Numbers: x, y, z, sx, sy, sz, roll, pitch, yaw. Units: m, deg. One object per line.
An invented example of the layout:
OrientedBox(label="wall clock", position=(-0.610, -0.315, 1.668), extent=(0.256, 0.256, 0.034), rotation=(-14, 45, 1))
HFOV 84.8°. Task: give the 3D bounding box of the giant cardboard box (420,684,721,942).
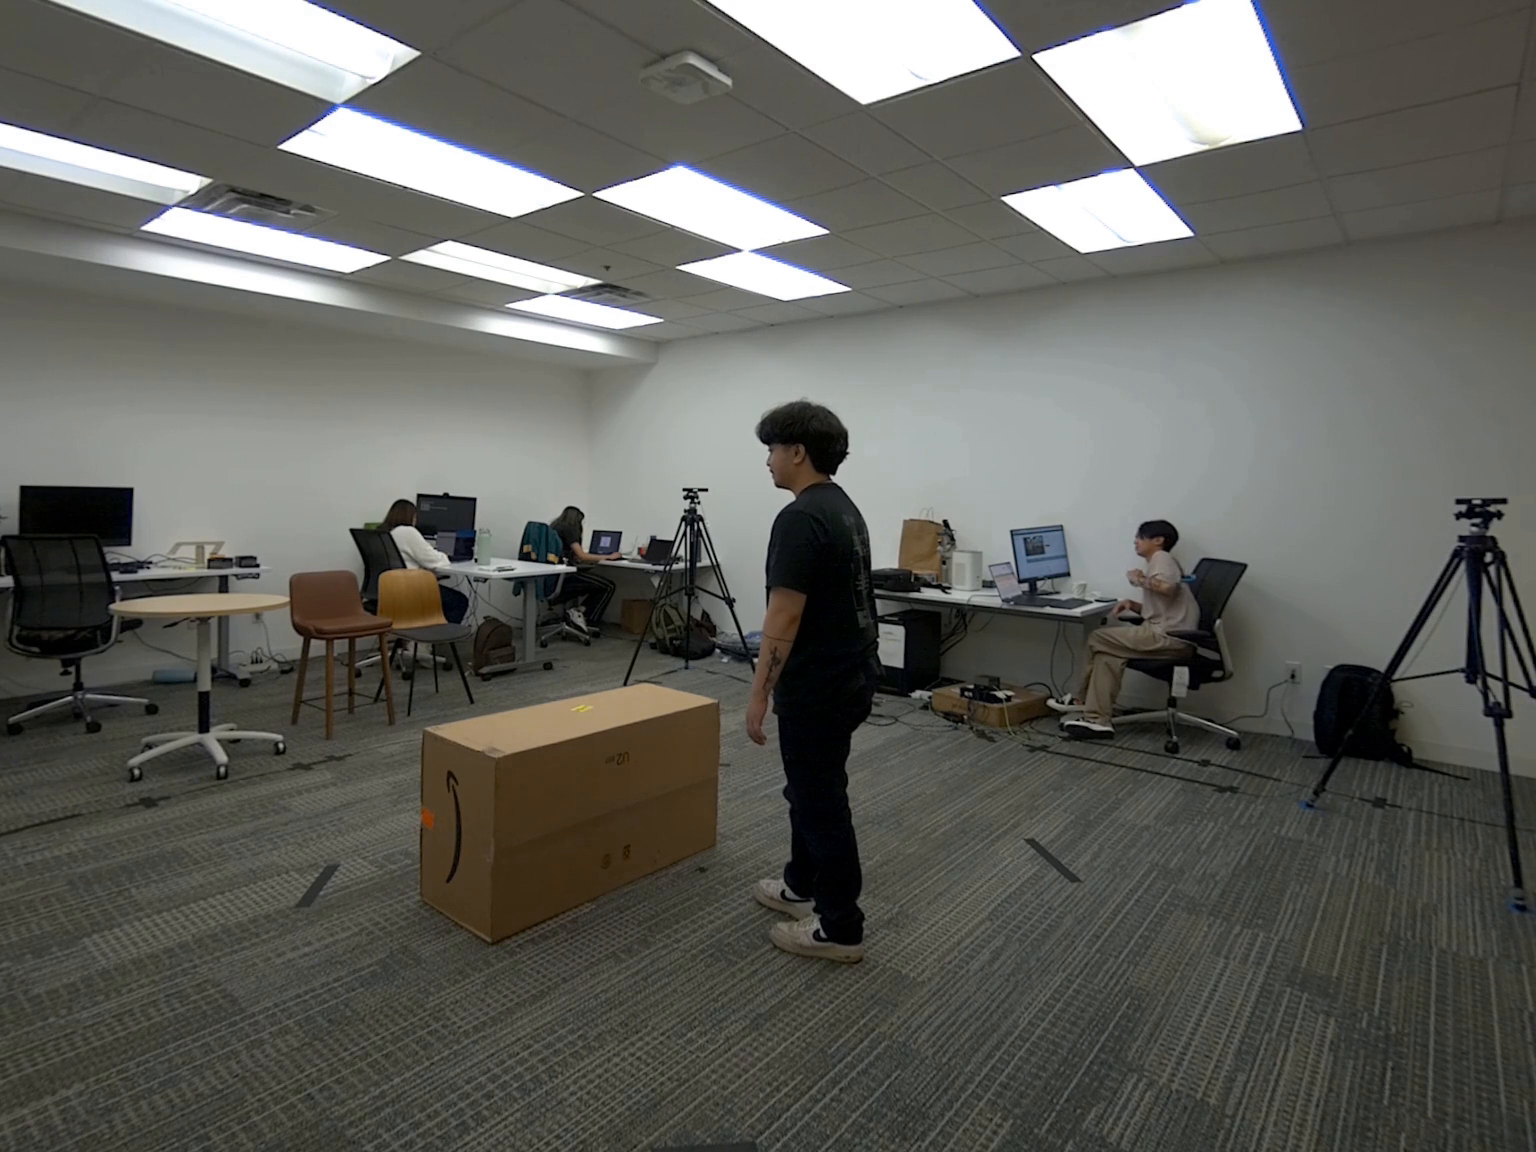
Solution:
OrientedBox(label="giant cardboard box", position=(-0.686, 0.780, 3.073), extent=(0.461, 0.582, 0.996), rotation=(3, 4, 40))
